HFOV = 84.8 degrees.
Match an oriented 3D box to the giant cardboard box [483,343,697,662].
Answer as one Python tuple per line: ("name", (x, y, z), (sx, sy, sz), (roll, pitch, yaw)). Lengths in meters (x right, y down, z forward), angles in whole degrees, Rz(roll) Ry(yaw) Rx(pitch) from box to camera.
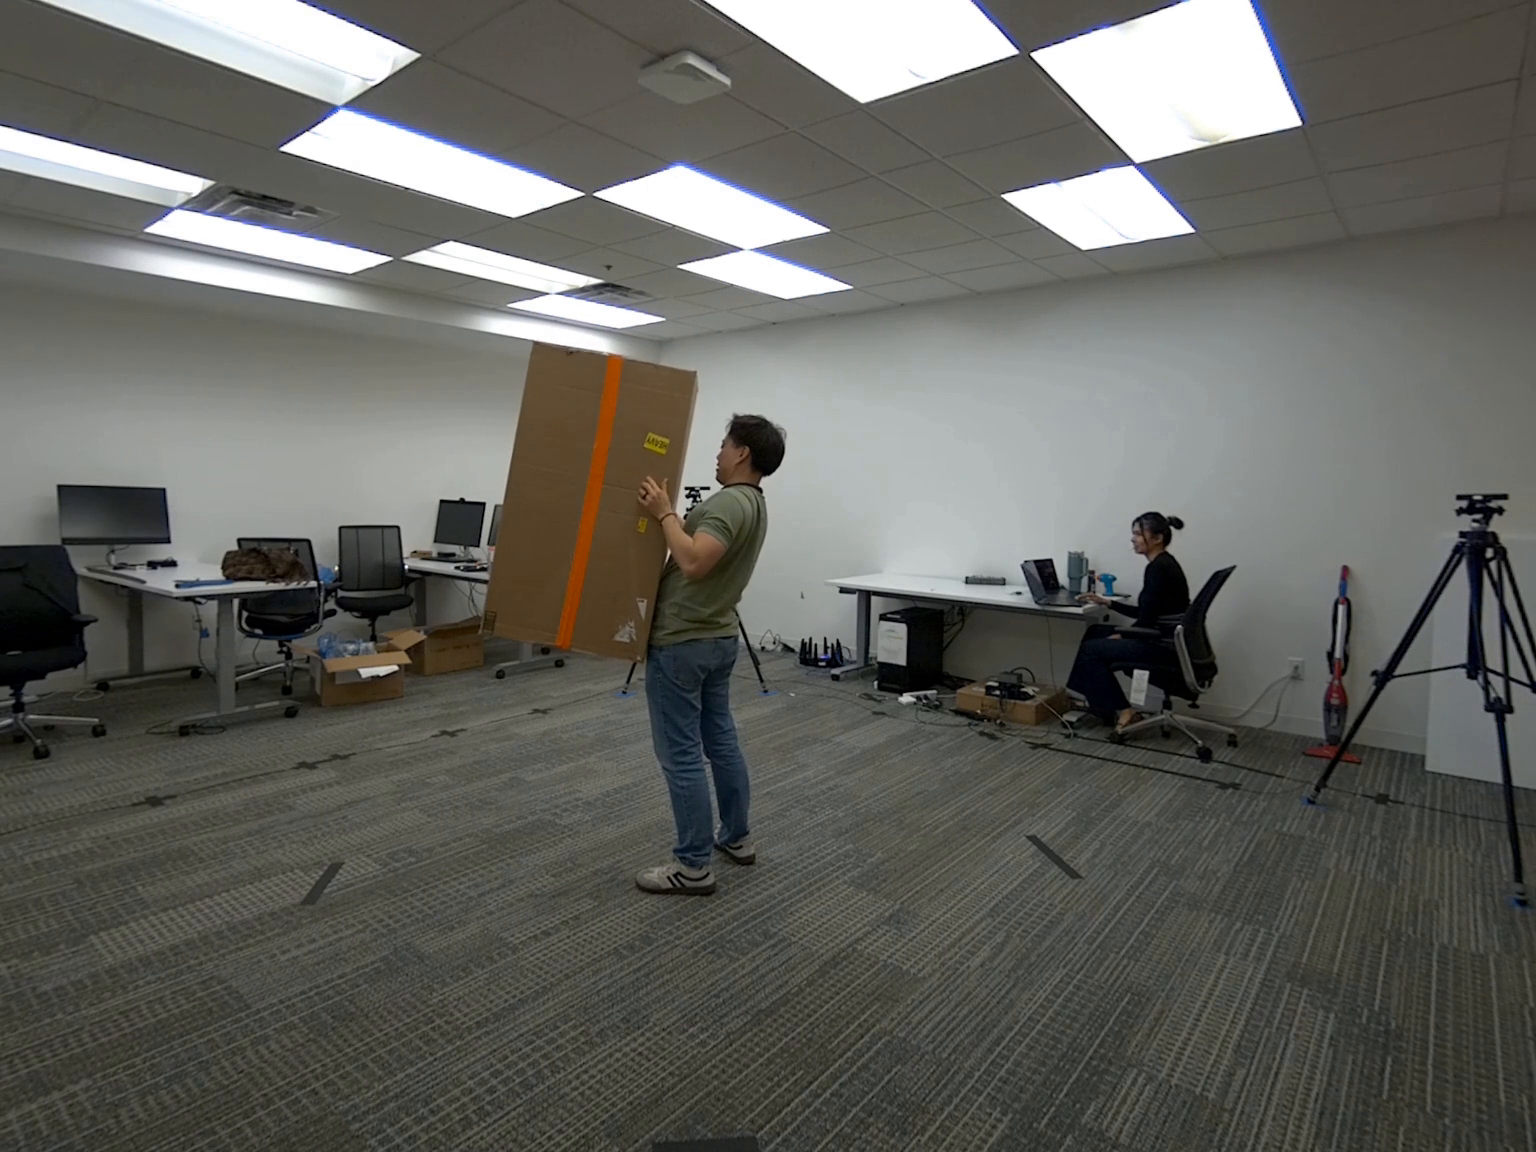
("giant cardboard box", (-0.647, -0.265, 3.121), (0.576, 1.025, 0.427), (10, 1, -2))
